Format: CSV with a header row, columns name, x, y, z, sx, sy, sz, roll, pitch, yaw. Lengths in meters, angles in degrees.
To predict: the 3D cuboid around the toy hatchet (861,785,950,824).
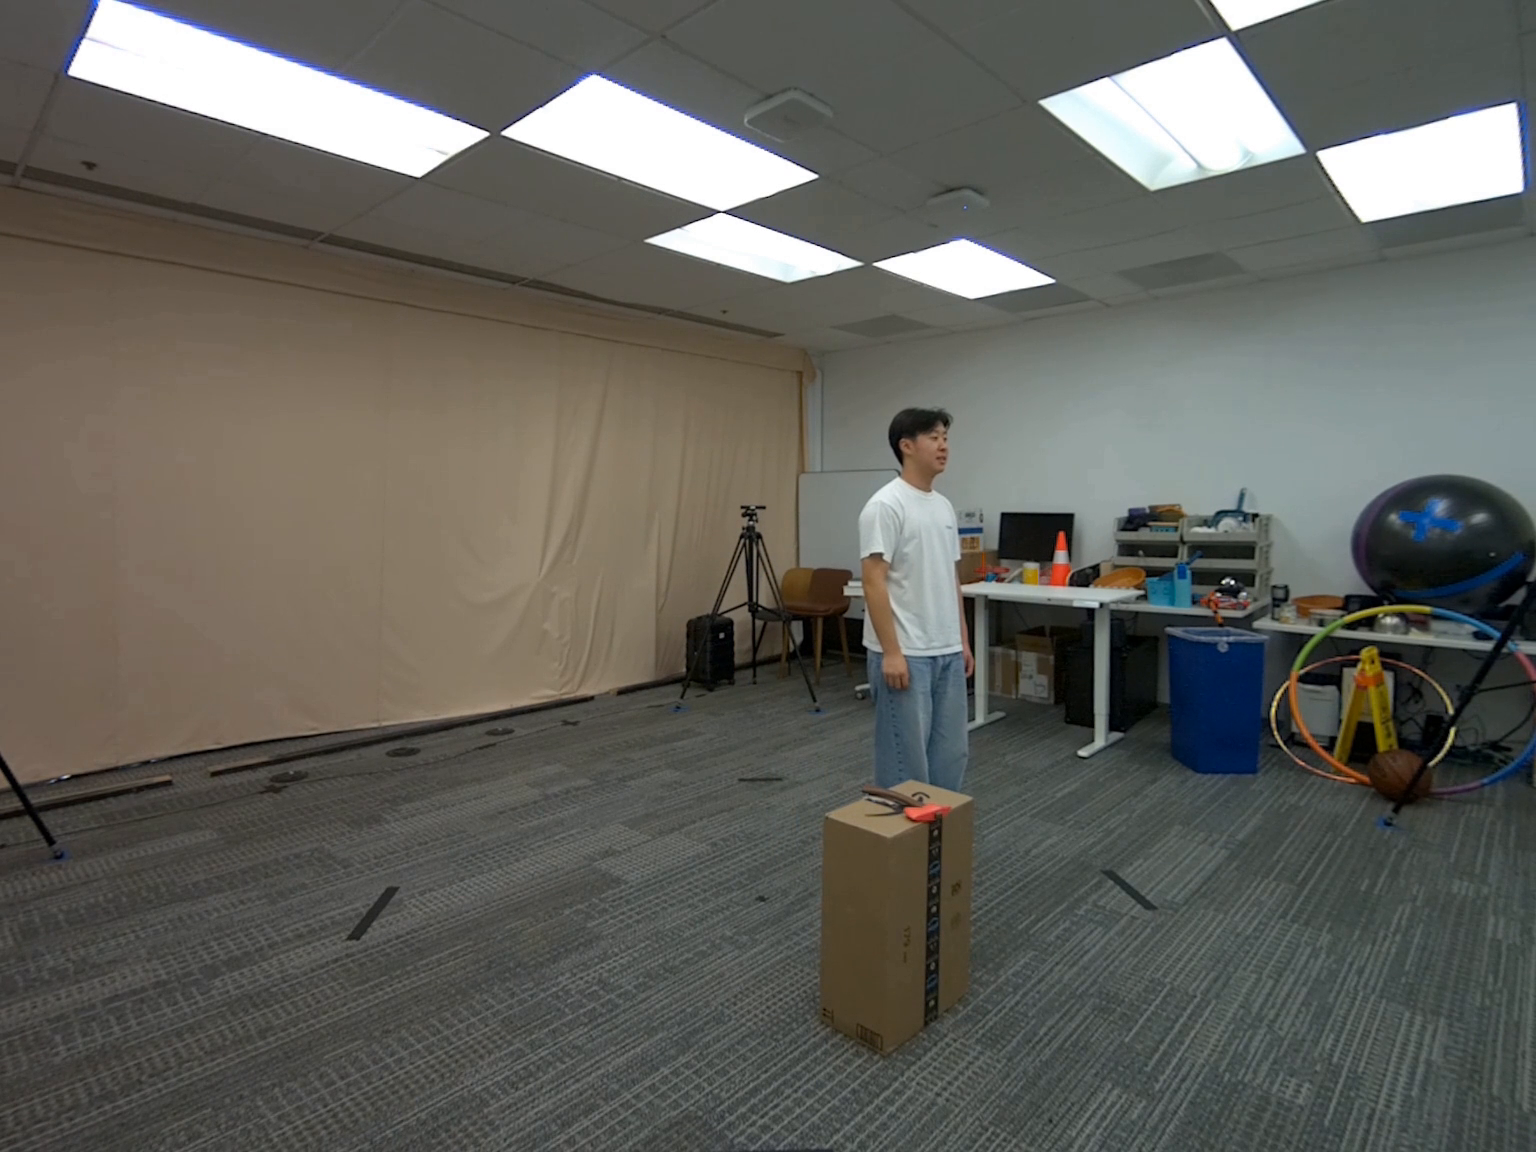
name,x,y,z,sx,sy,sz,roll,pitch,yaw
toy hatchet,0.358,0.621,2.302,0.279,0.029,0.127,3,11,42
